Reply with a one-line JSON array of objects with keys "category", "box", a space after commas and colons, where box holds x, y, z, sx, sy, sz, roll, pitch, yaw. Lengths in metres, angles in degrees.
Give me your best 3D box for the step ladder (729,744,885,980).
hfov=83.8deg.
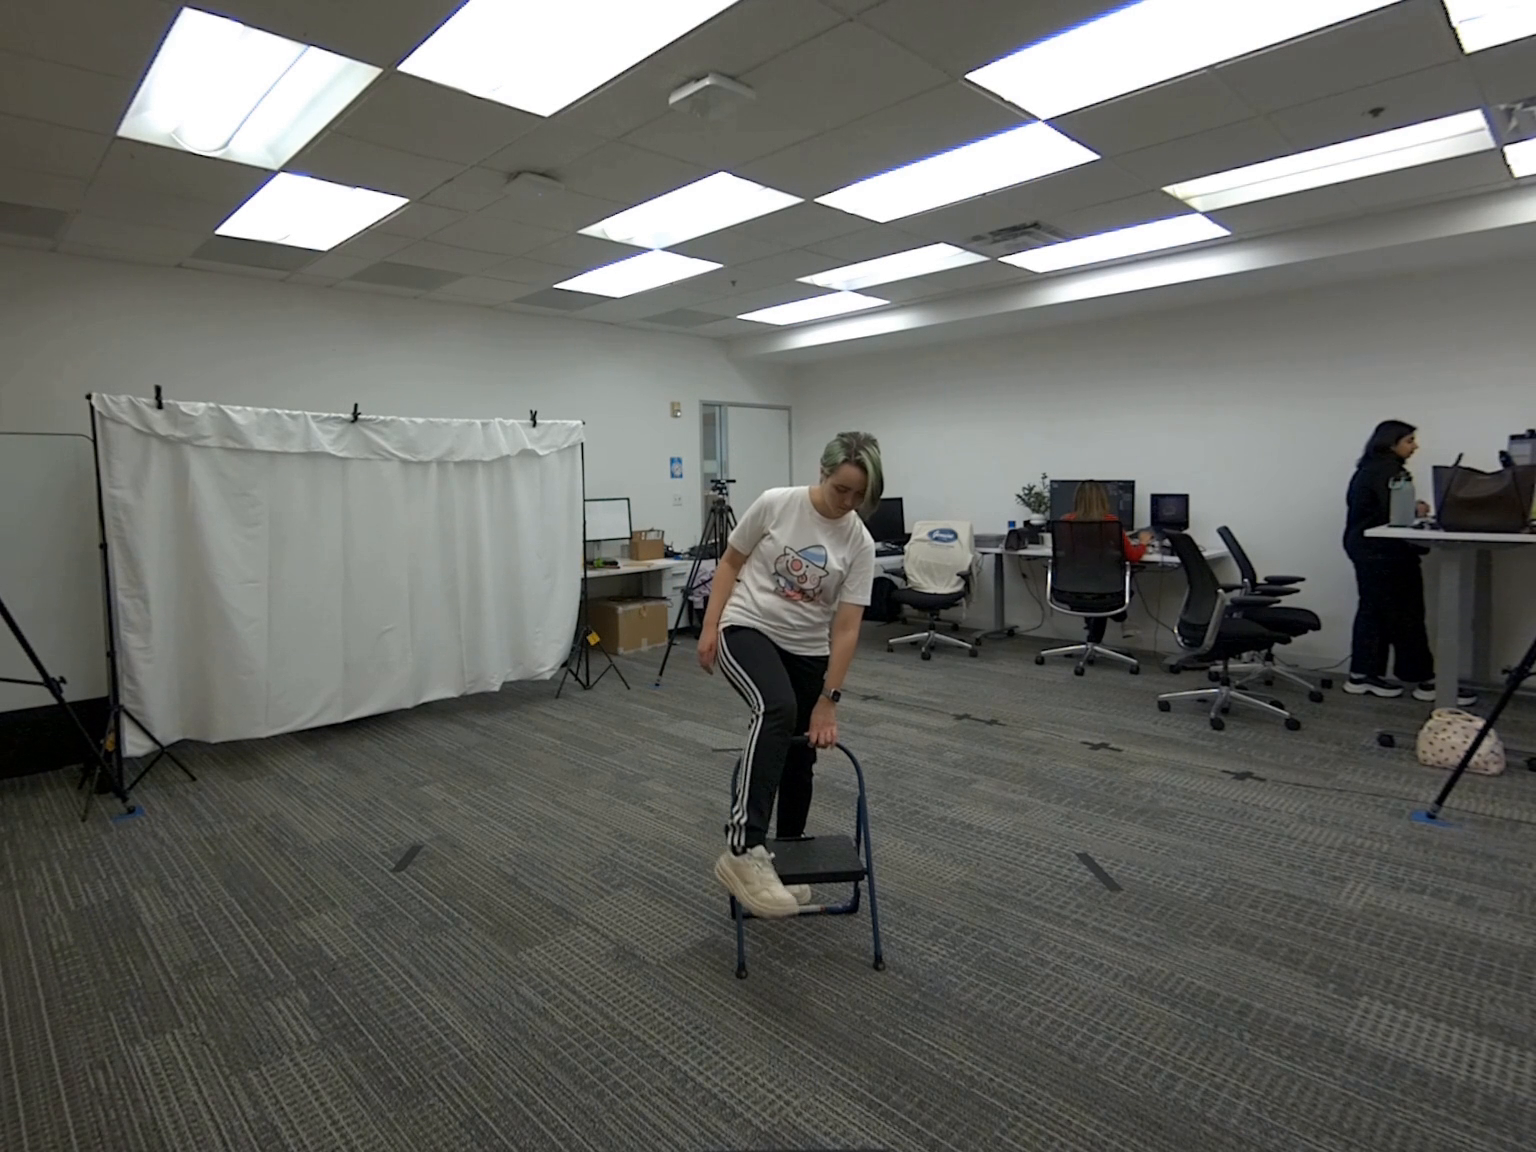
[{"category": "step ladder", "box": [0.103, 0.807, 2.563, 0.429, 0.604, 0.352, -2, 4, -5]}]
